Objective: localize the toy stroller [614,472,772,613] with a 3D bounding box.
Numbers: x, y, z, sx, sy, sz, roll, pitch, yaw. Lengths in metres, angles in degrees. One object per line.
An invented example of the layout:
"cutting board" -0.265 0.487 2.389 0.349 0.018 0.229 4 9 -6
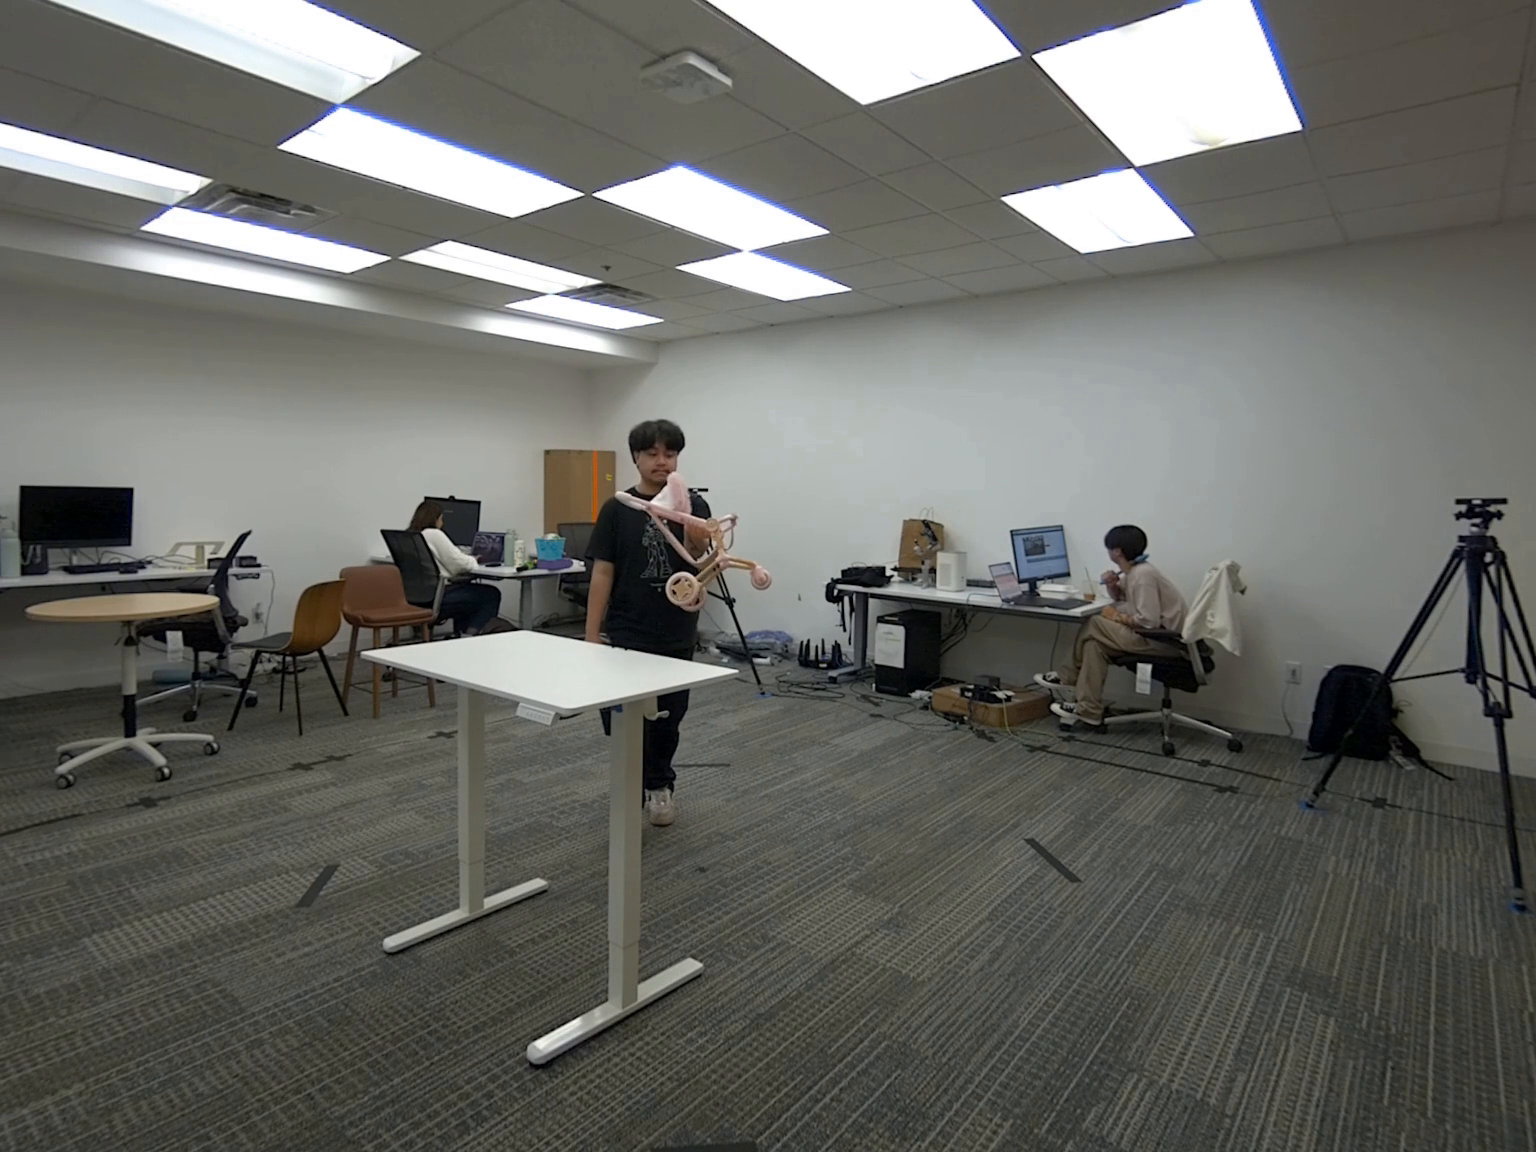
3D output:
"toy stroller" -0.259 -0.133 2.916 0.342 0.543 0.276 -30 -11 5
